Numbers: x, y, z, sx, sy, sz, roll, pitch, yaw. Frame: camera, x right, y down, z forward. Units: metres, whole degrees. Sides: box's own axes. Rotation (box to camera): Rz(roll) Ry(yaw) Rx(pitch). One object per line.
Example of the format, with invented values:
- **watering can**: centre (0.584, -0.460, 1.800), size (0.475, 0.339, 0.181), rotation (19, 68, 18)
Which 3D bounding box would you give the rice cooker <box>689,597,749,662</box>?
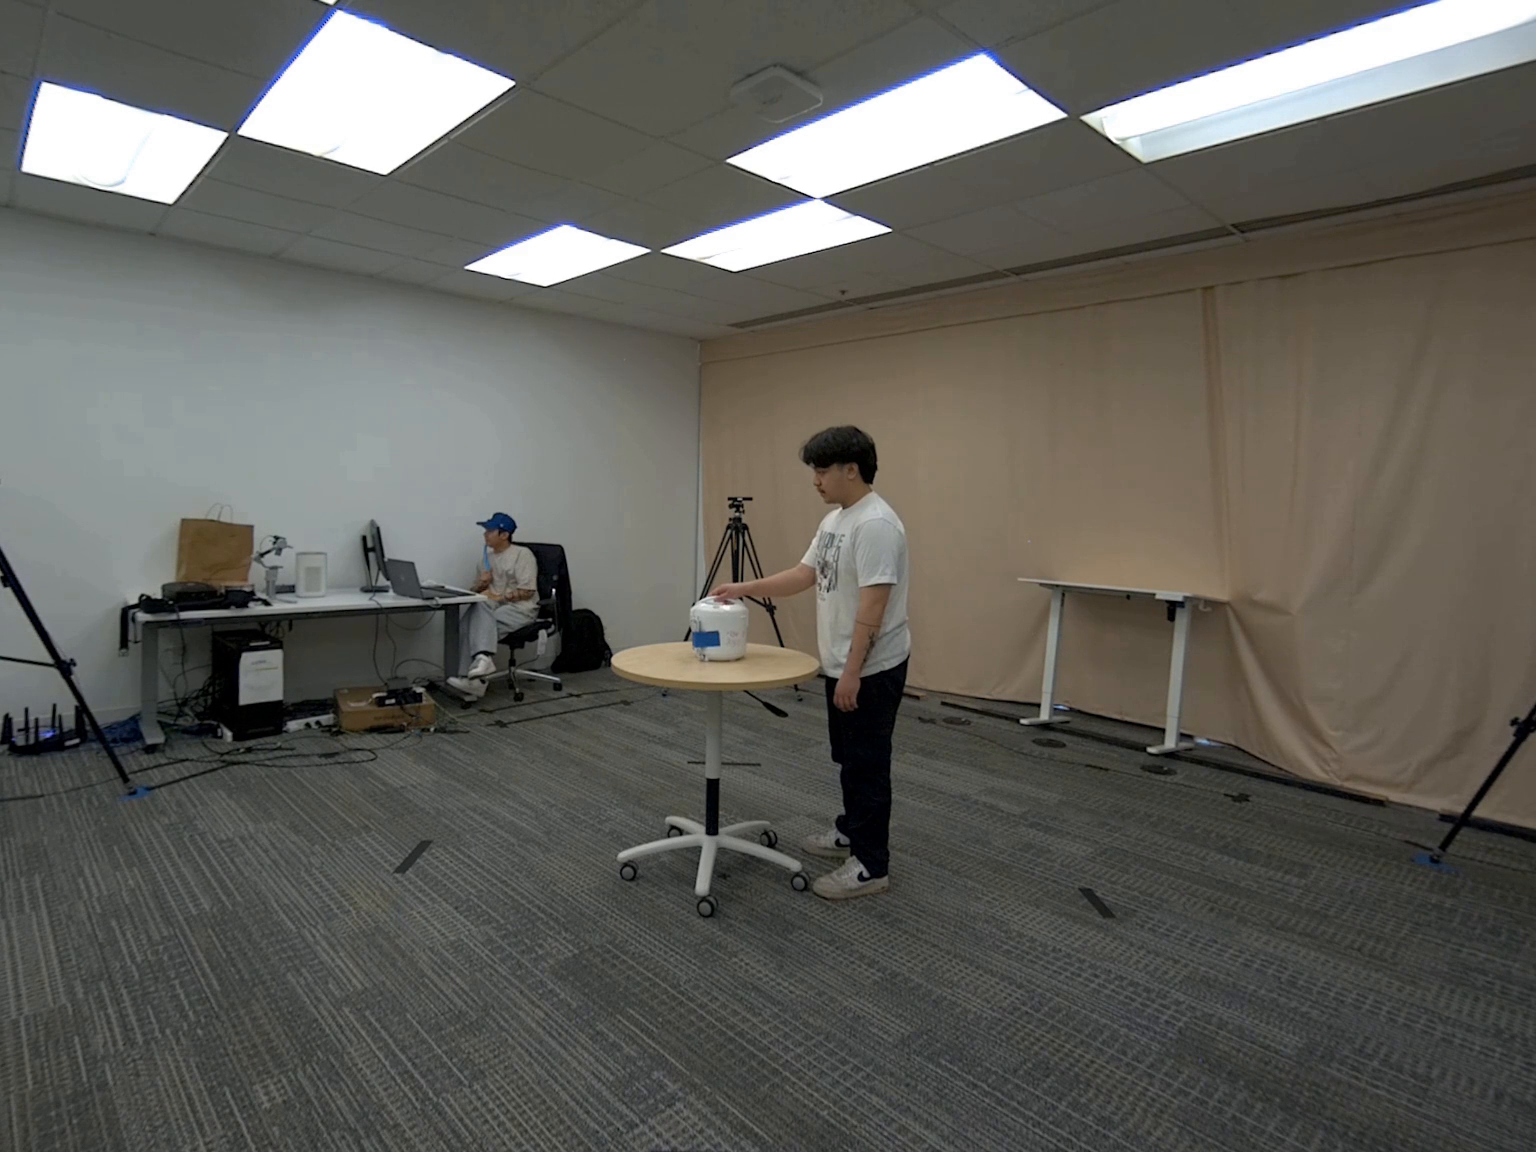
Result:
- **rice cooker**: centre (-0.189, 0.187, 3.145), size (0.220, 0.232, 0.219), rotation (2, 4, -6)
